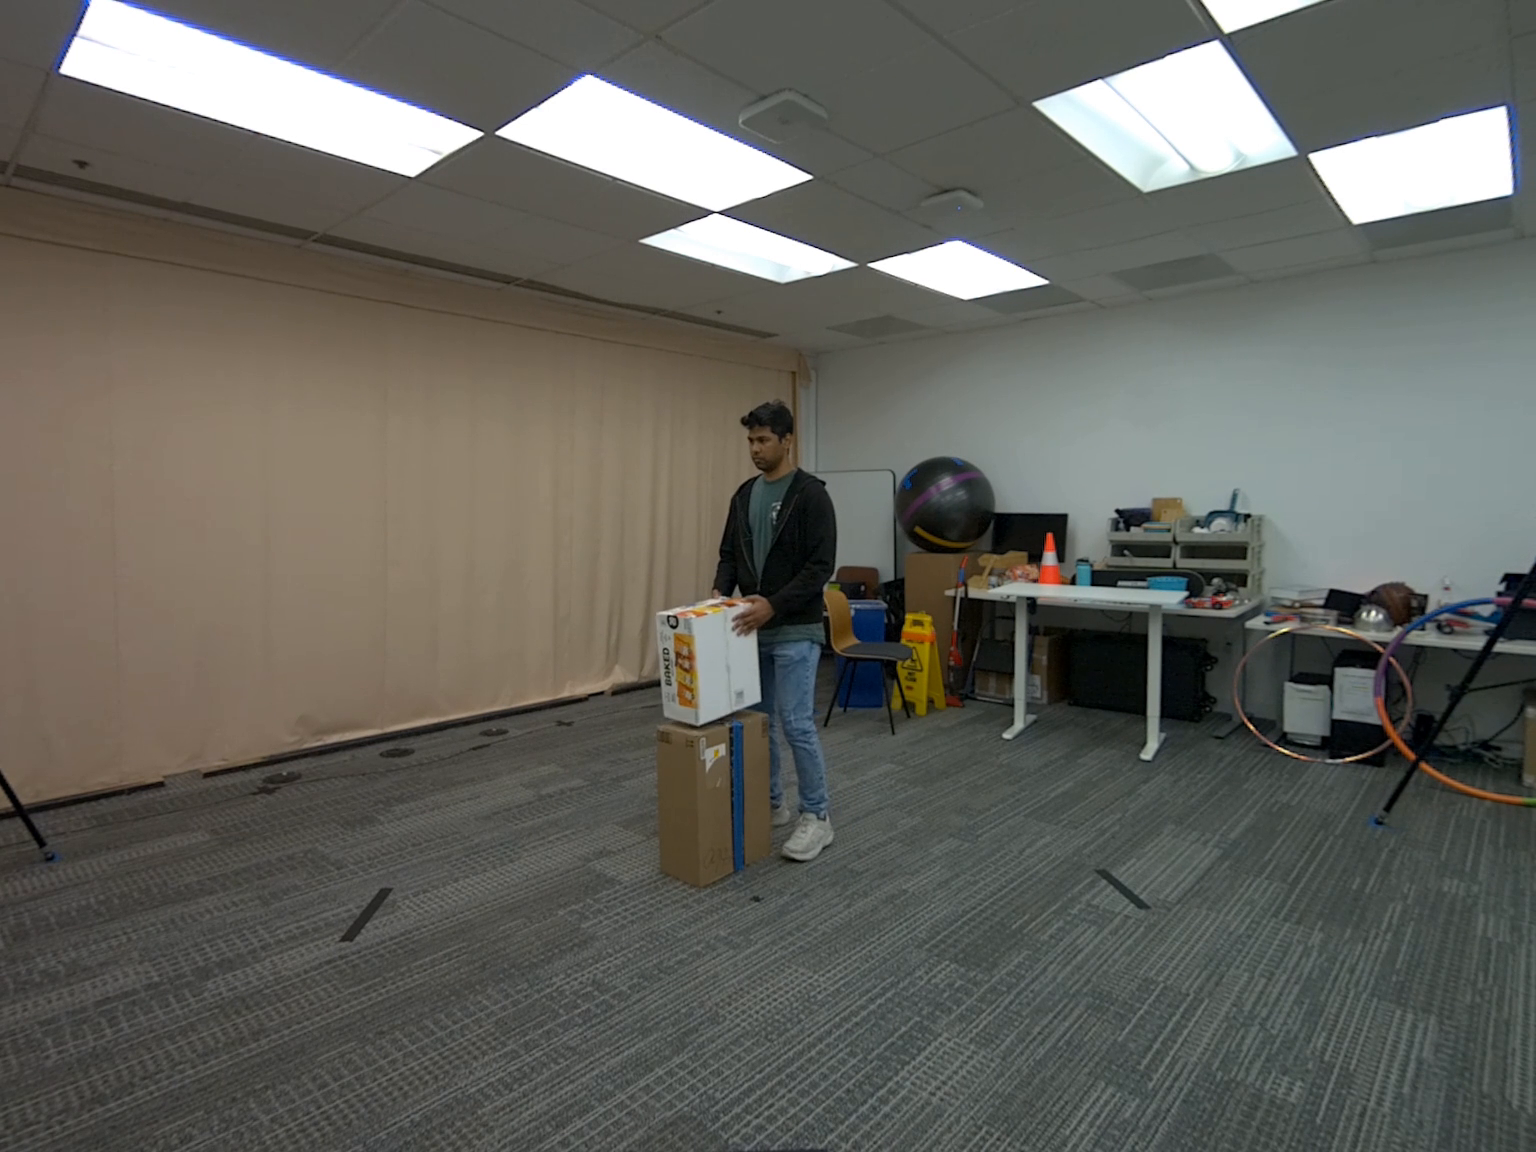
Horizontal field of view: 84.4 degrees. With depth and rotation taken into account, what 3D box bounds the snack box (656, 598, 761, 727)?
[{"bbox_3d":[-0.221,0.298,3.235,0.212,0.403,0.330,3,9,45],"label":"snack box"}]
